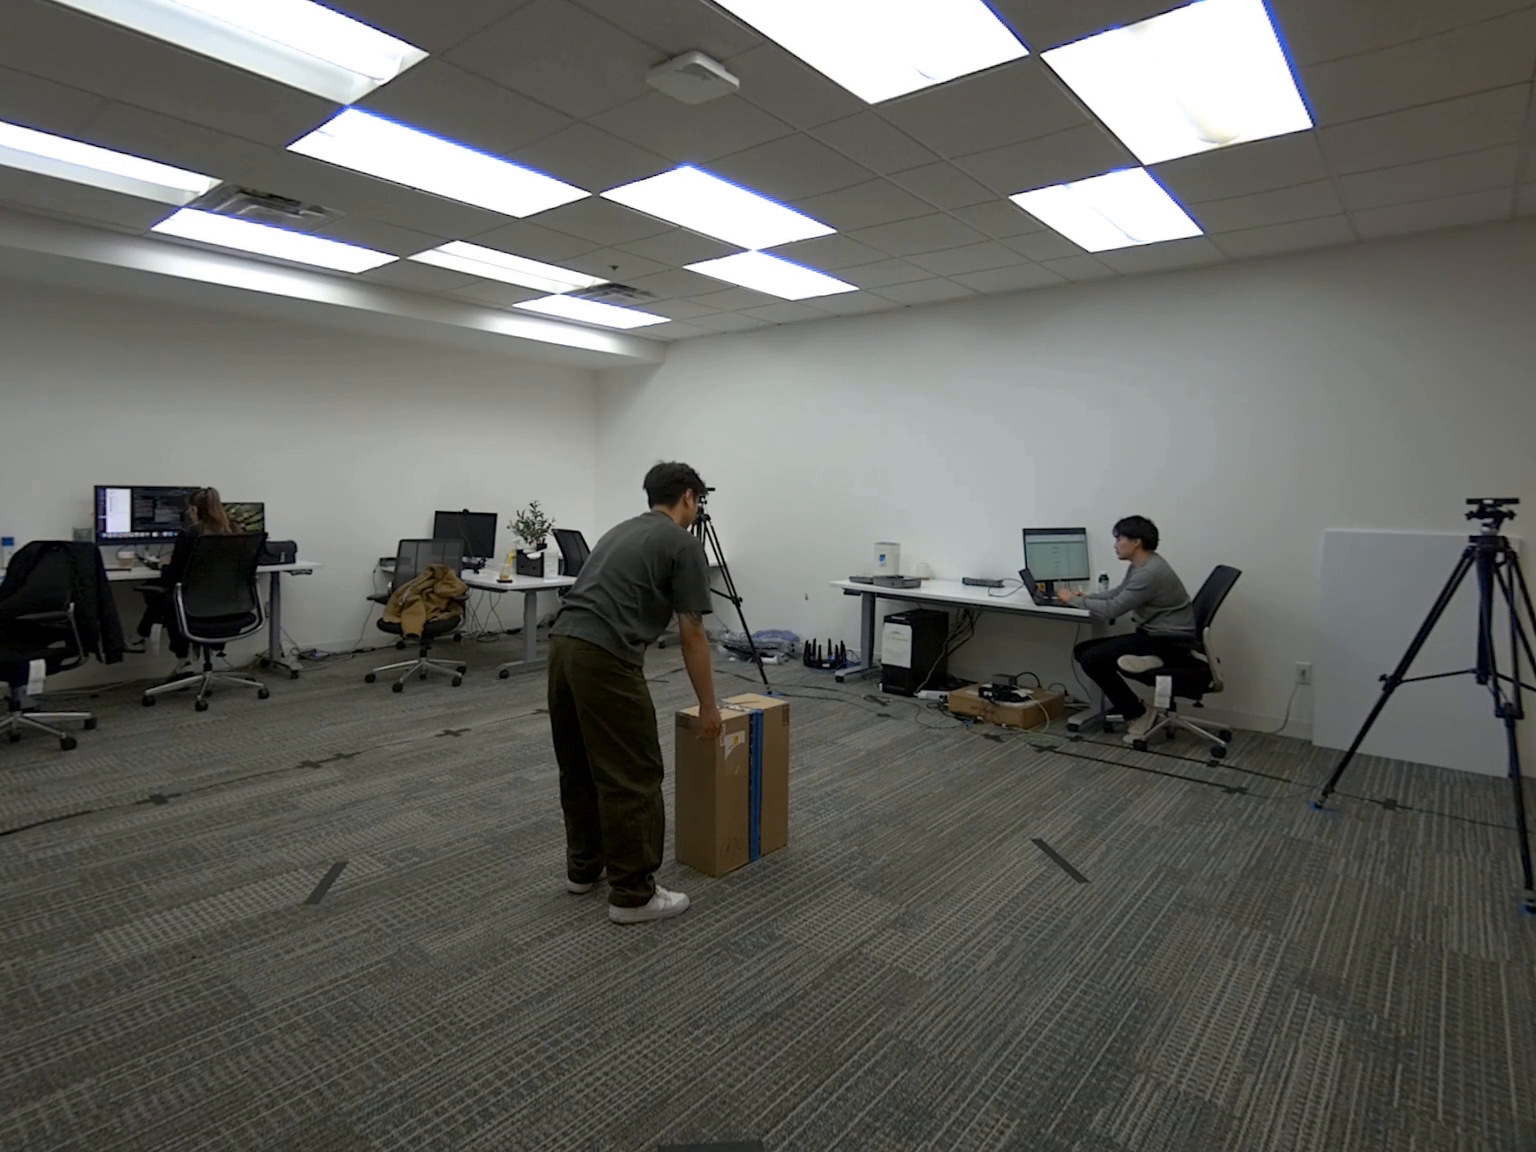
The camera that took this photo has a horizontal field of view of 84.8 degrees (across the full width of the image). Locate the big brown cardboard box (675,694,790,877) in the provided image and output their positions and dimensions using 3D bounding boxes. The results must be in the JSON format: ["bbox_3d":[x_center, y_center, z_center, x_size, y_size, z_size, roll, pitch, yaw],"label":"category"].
[{"bbox_3d":[-0.139,0.768,3.235,0.241,0.586,0.405,5,6,41],"label":"big brown cardboard box"}]
